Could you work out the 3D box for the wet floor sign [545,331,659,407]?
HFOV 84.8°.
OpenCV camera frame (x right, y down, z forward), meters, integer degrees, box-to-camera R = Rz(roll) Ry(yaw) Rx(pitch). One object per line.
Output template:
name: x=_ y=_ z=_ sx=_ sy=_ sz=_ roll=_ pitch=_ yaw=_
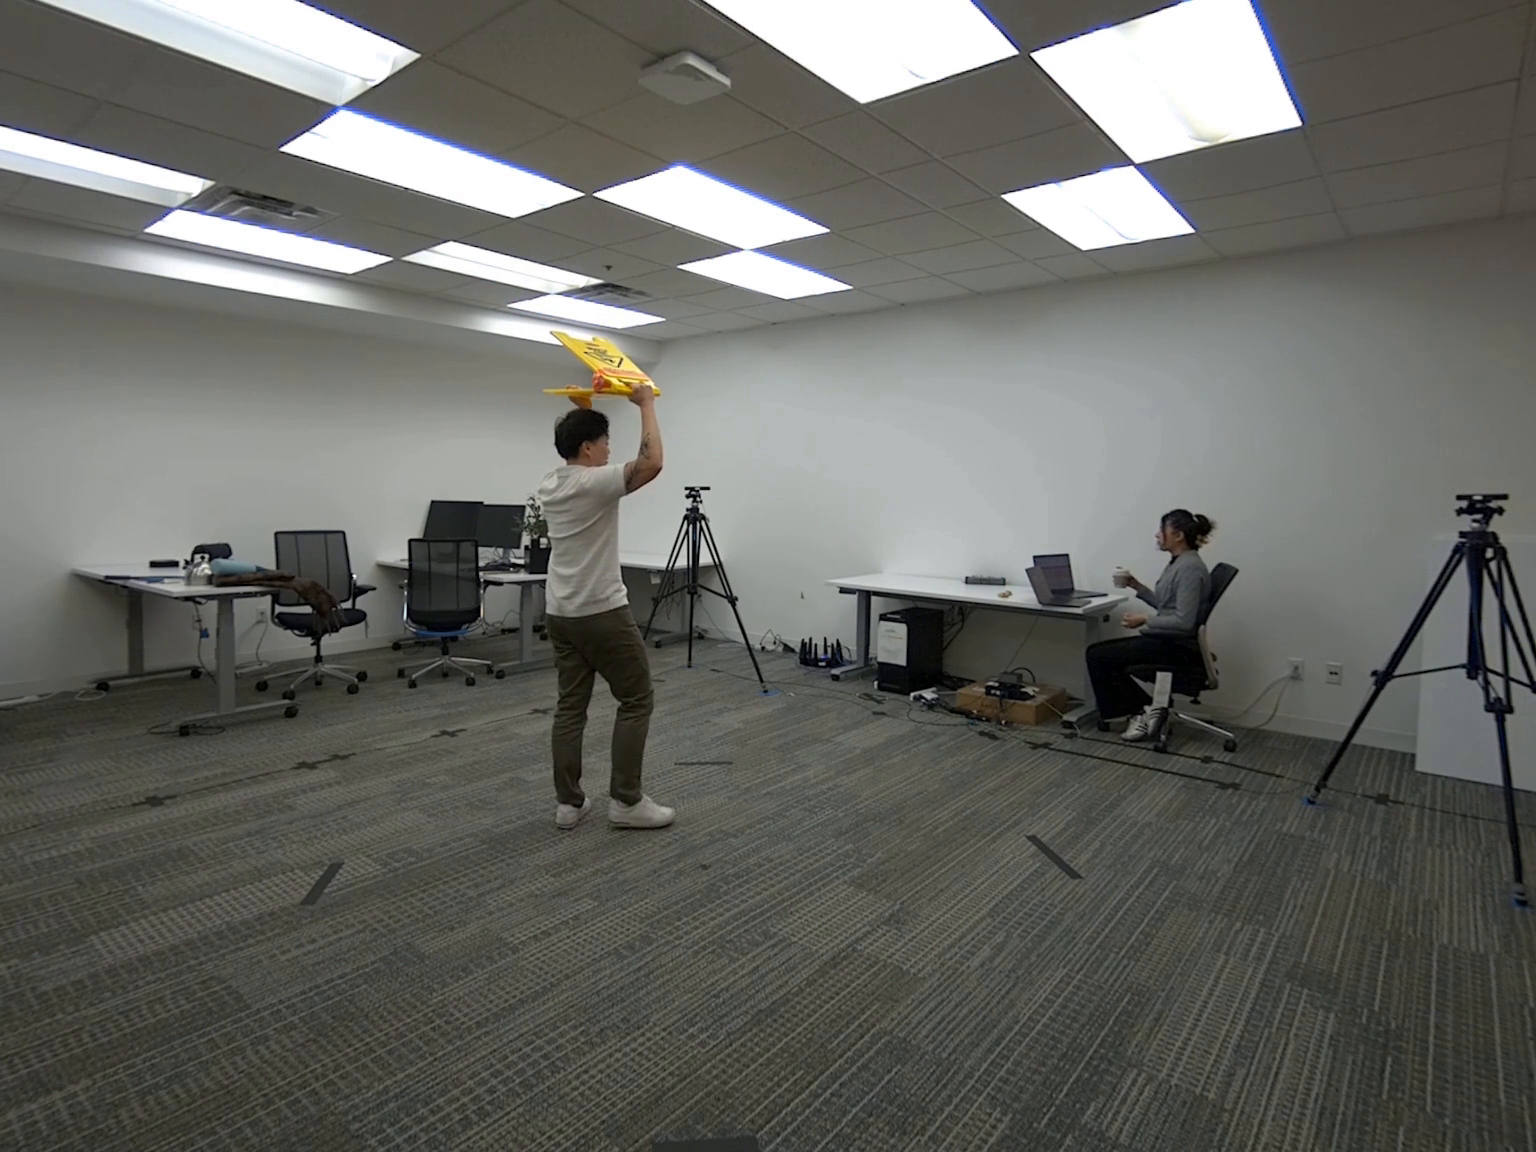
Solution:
wet floor sign: x=-0.685 y=-0.827 z=3.541 sx=0.274 sy=0.286 sz=0.673 roll=-1 pitch=20 yaw=-35
